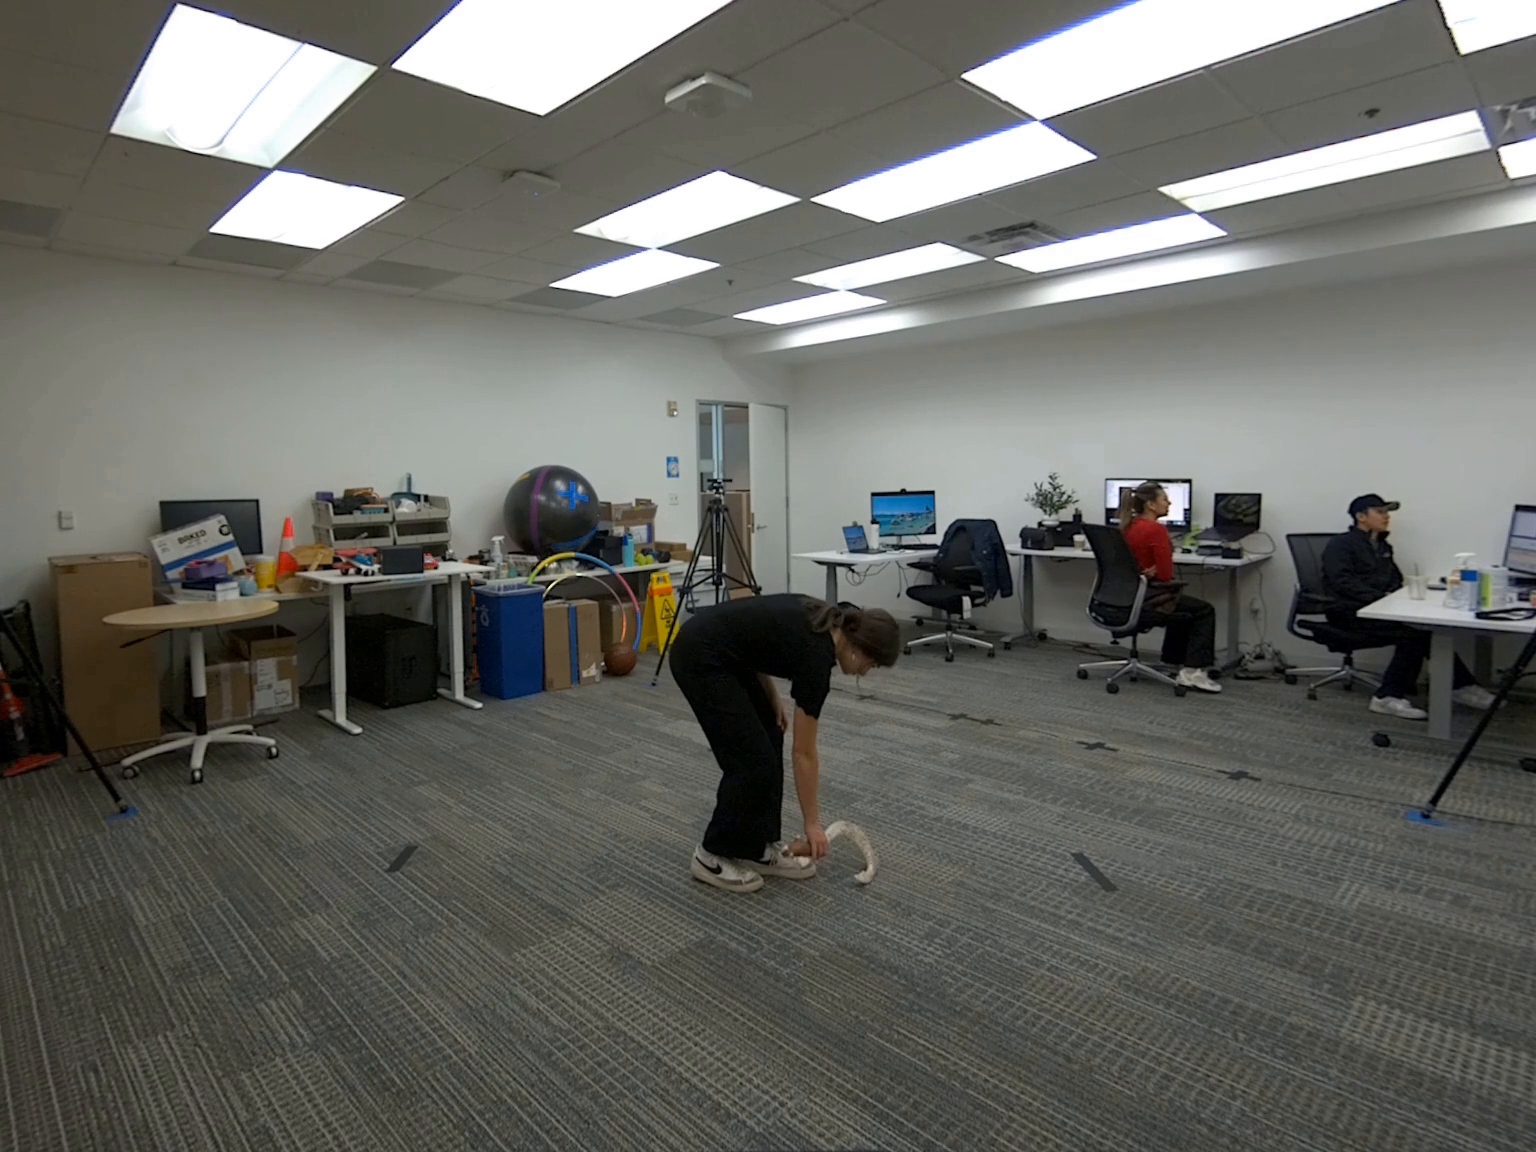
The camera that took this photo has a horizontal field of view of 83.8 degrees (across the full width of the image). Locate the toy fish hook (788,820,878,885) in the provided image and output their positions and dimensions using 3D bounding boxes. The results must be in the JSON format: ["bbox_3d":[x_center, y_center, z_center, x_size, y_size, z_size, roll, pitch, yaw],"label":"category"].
[{"bbox_3d":[0.220,0.946,2.896,0.490,0.048,0.233,11,34,-52],"label":"toy fish hook"}]
